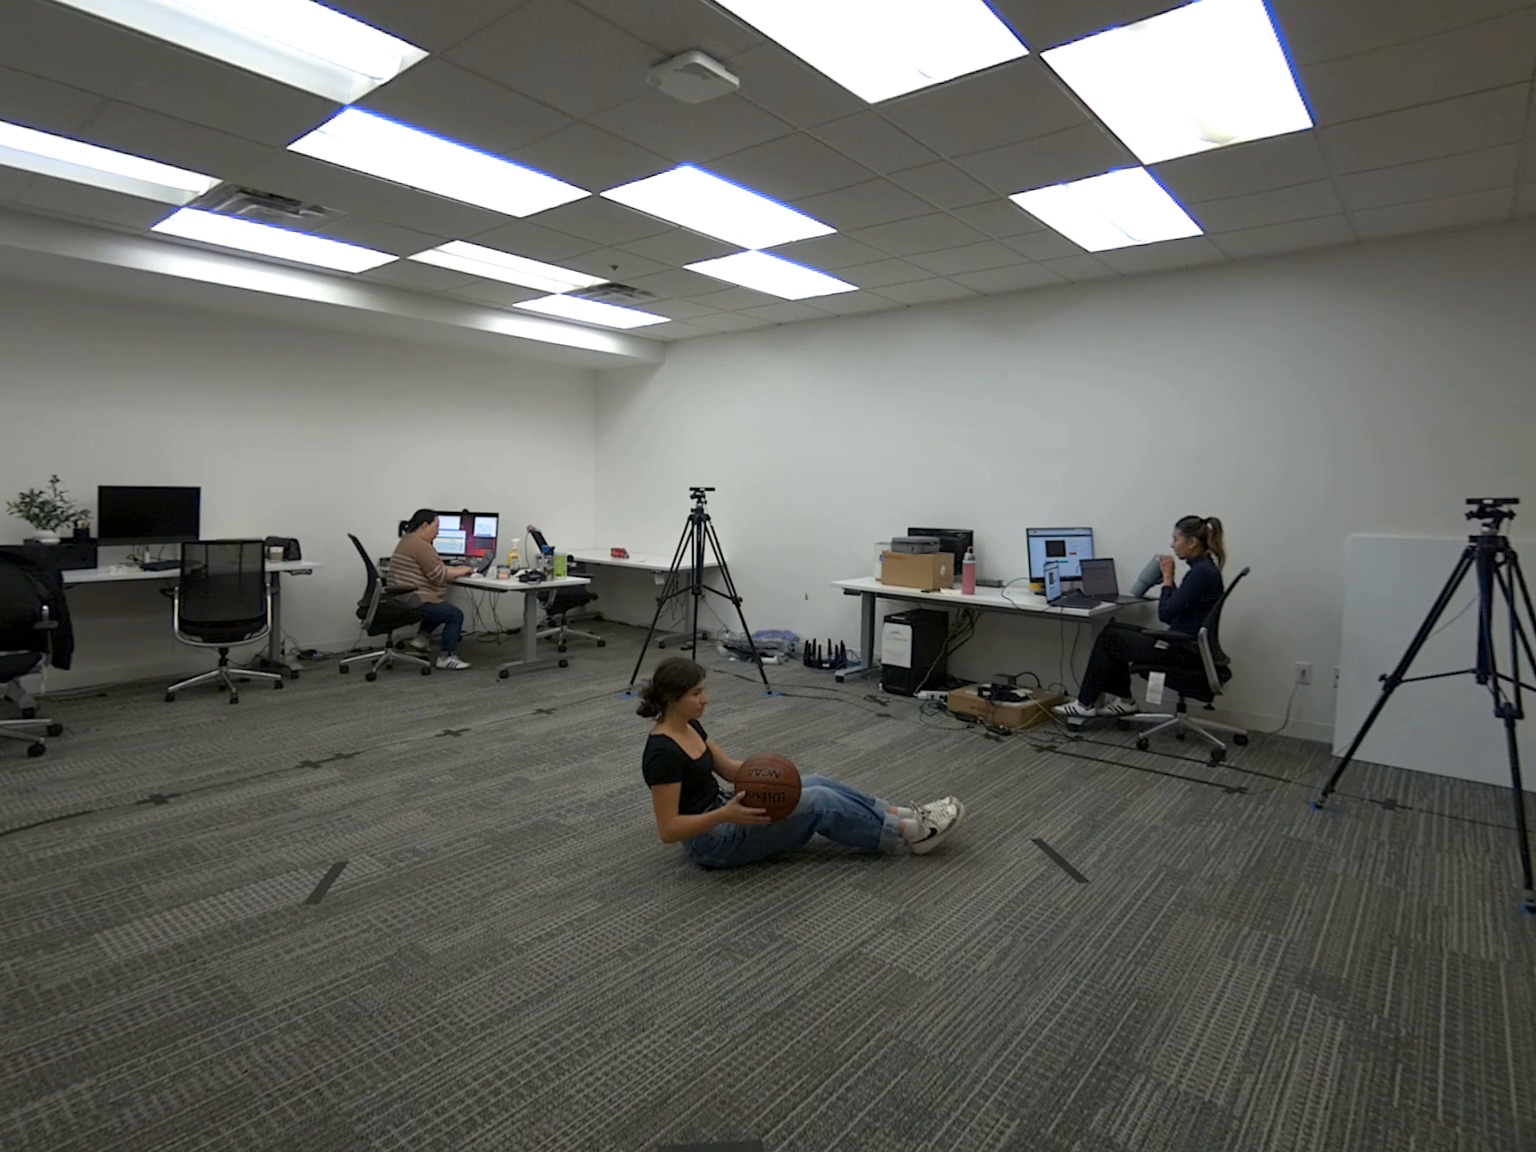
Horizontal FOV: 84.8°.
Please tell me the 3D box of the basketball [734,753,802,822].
[{"bbox_3d":[-0.009,0.744,2.997,0.235,0.235,0.237,1,4,-2],"label":"basketball"}]
